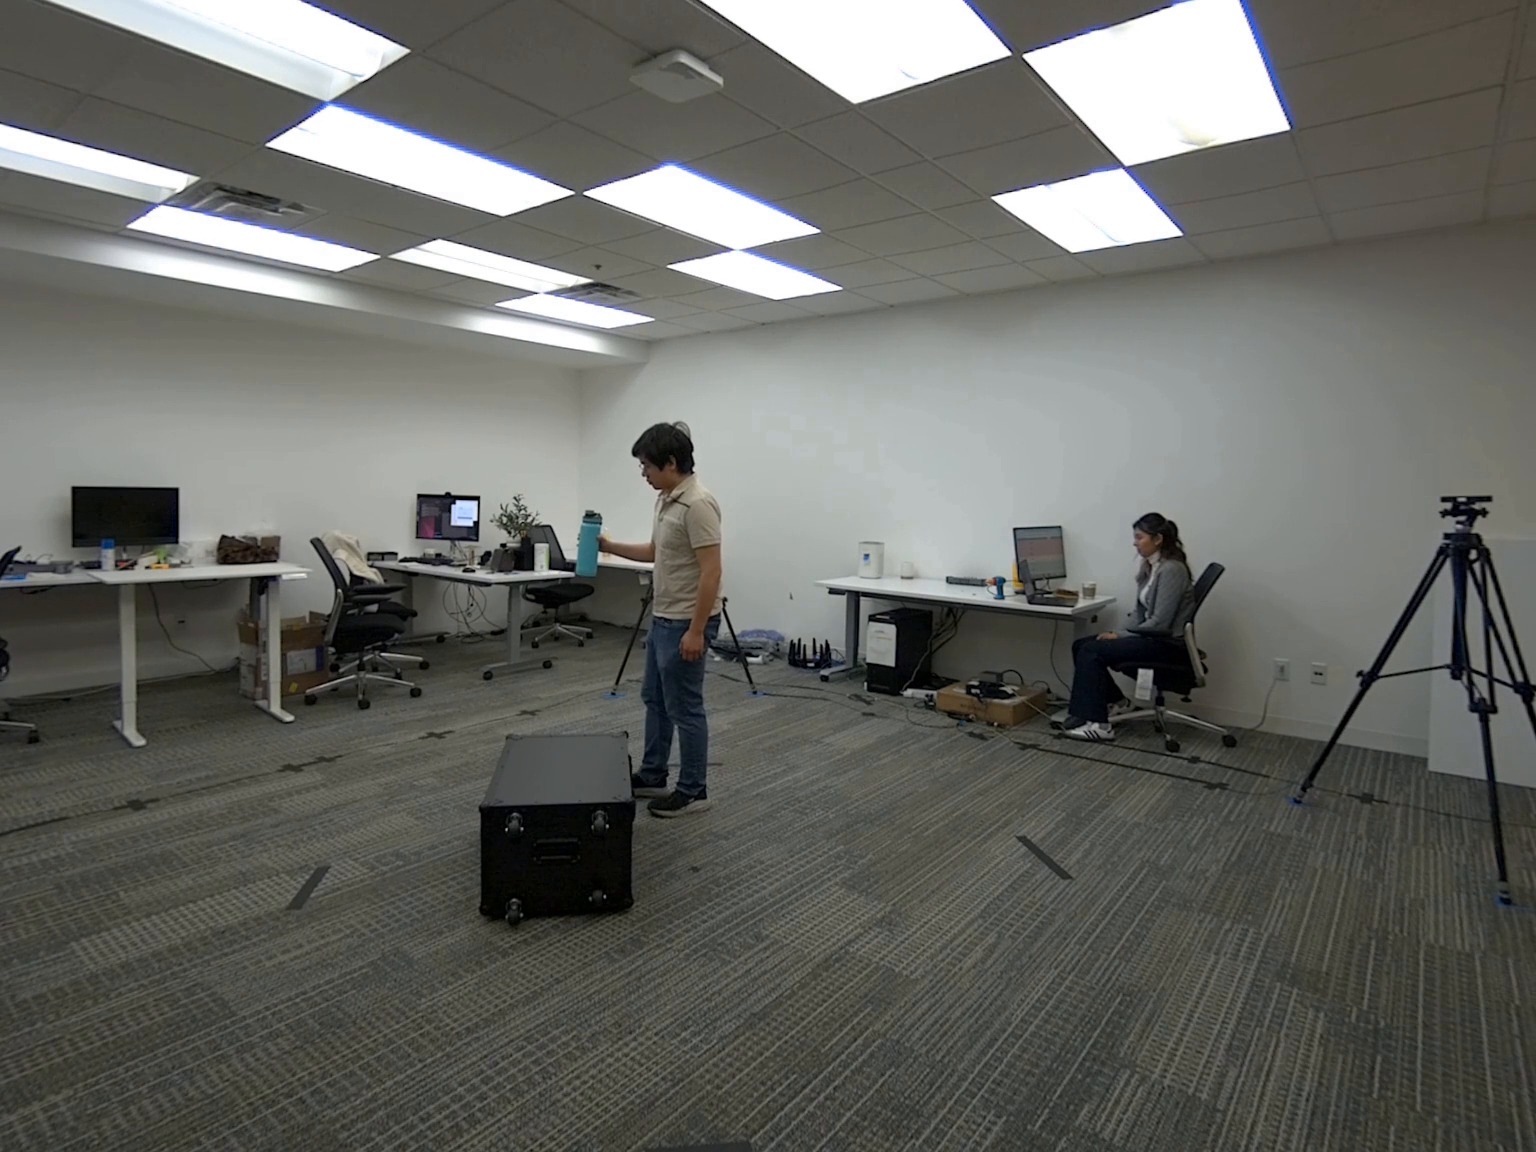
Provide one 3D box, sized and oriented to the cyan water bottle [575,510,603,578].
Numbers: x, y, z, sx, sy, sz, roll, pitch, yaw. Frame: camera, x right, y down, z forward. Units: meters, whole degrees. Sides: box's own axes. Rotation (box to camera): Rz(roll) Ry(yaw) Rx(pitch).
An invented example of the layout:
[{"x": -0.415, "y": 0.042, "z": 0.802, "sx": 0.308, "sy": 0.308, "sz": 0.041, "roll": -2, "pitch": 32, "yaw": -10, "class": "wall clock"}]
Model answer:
[{"x": -0.796, "y": -0.150, "z": 3.706, "sx": 0.092, "sy": 0.282, "sz": 0.093, "roll": 4, "pitch": 4, "yaw": -2, "class": "cyan water bottle"}]
